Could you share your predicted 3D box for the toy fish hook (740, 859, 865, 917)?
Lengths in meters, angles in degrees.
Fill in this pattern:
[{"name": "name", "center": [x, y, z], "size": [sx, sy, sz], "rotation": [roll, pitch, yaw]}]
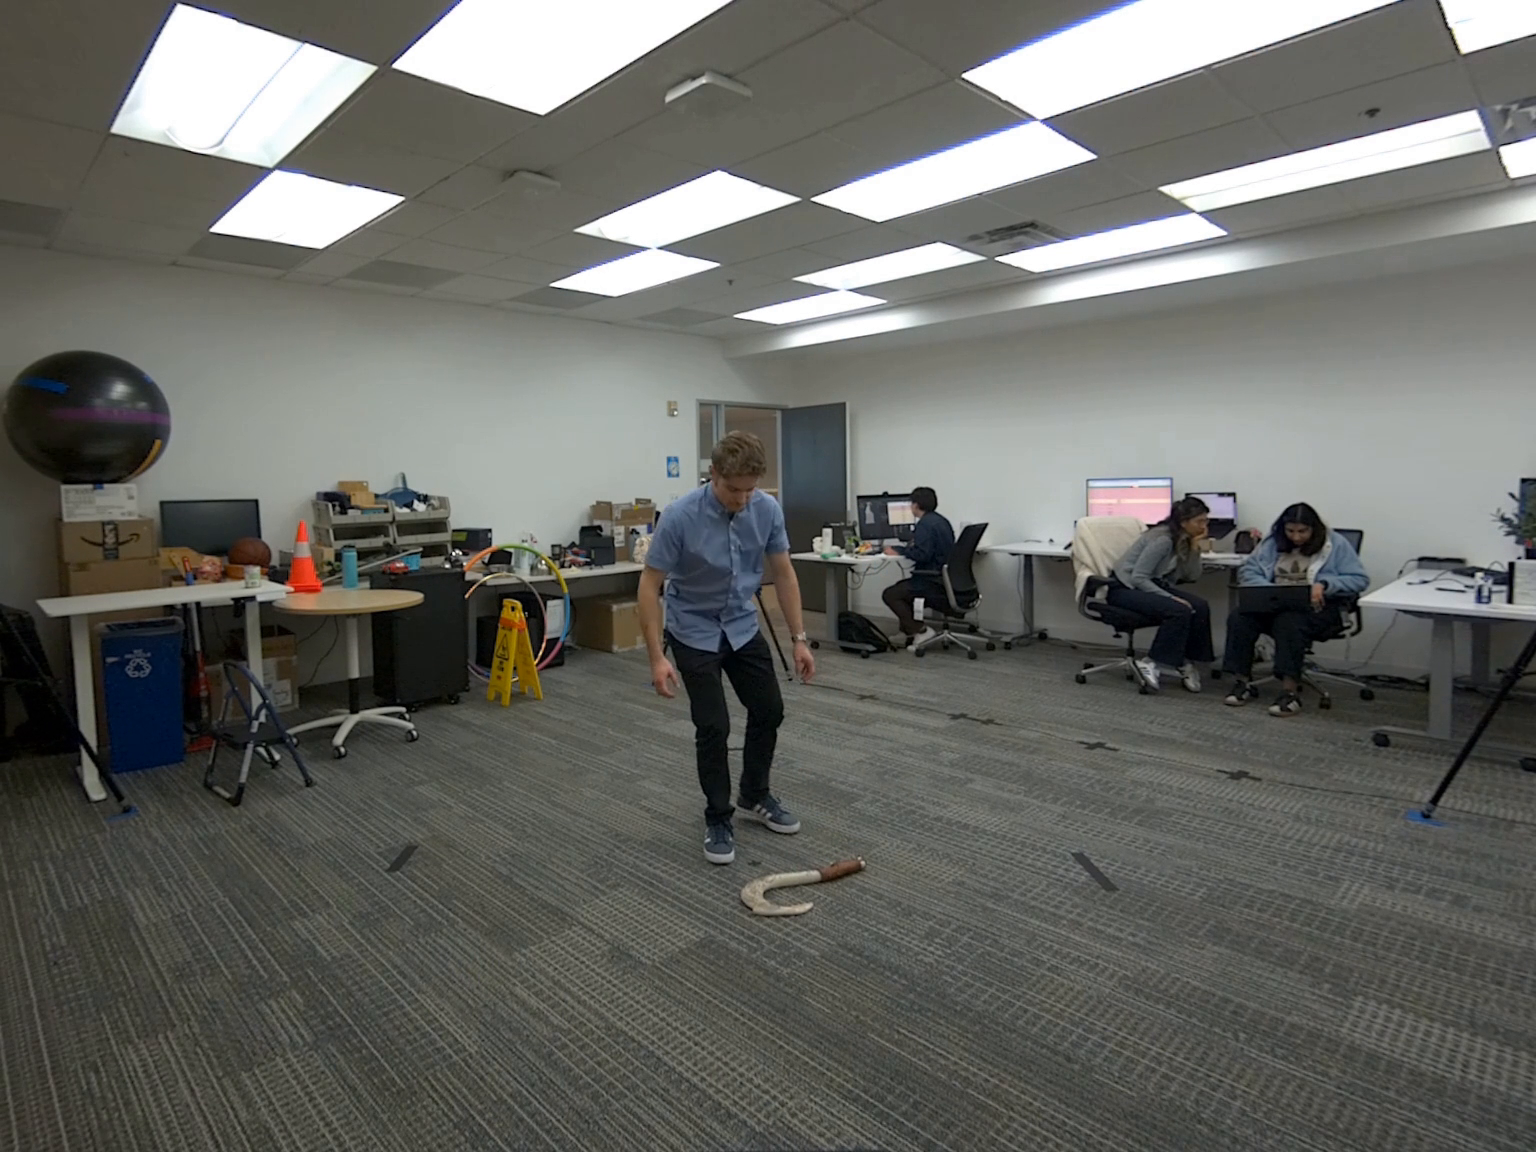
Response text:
[{"name": "toy fish hook", "center": [0.158, 1.054, 2.884], "size": [0.495, 0.048, 0.232], "rotation": [-6, 15, -28]}]
